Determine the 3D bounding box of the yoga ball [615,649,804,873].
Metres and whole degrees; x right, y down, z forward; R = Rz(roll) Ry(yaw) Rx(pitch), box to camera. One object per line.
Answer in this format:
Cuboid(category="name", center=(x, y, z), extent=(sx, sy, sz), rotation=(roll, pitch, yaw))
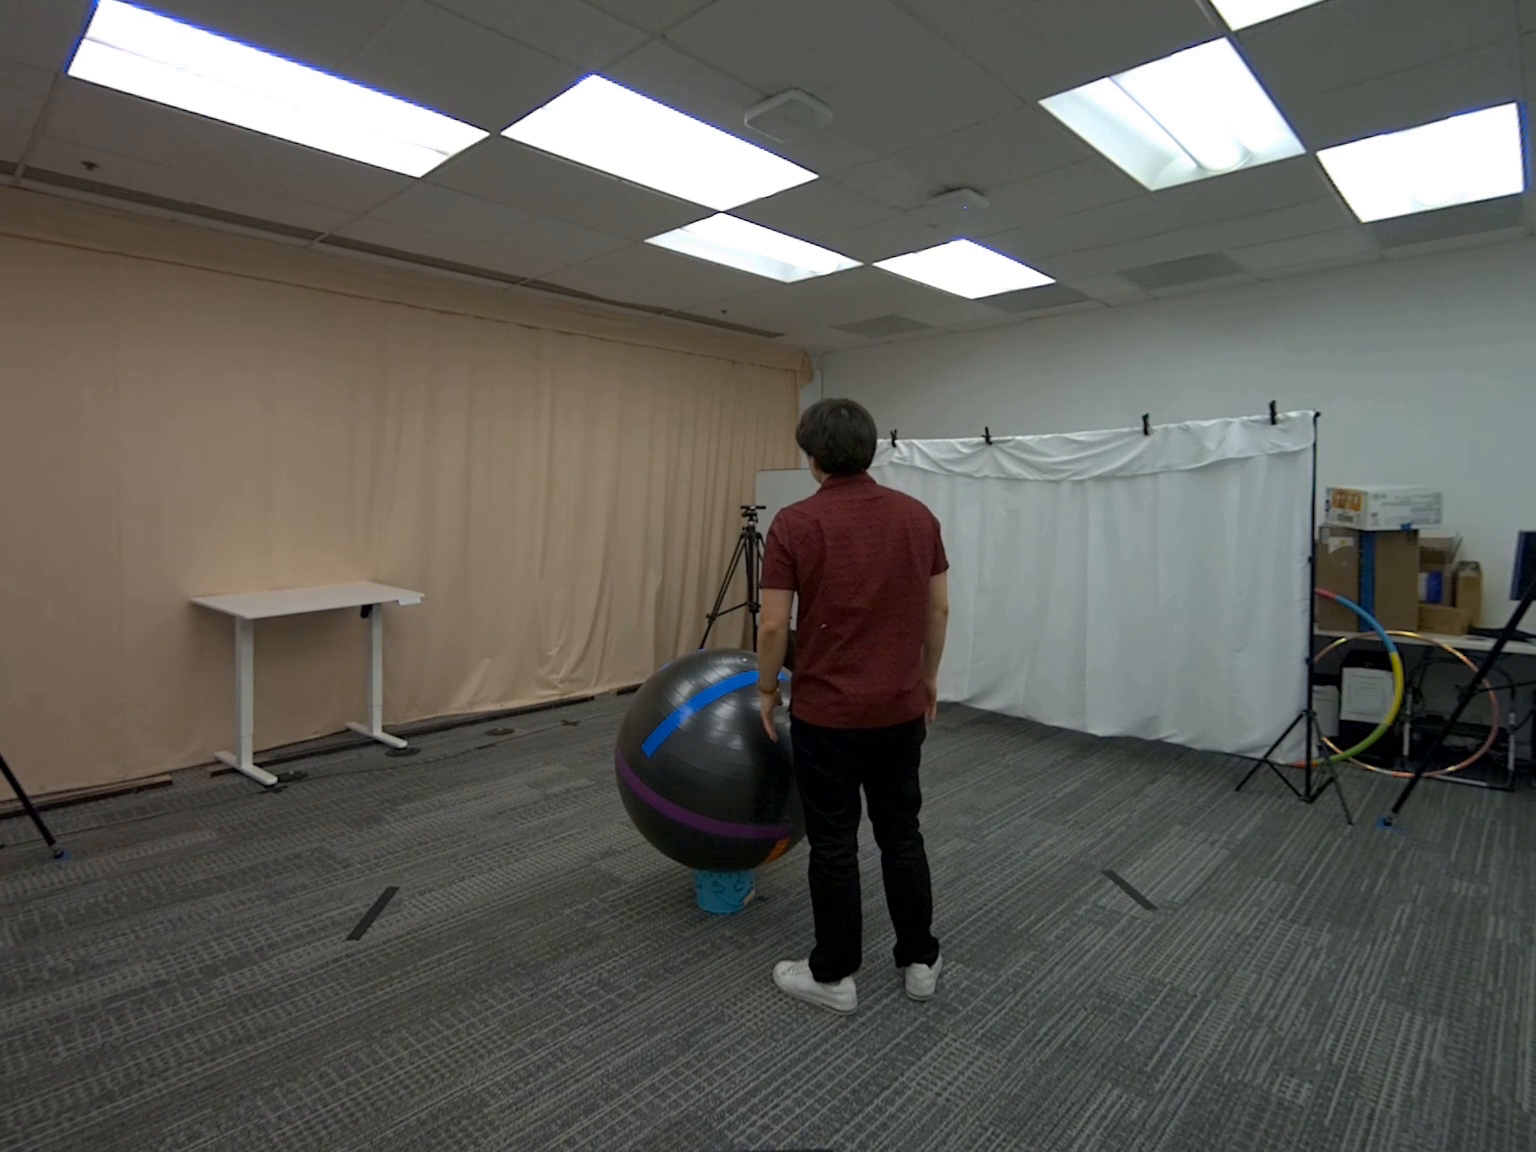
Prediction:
Cuboid(category="yoga ball", center=(-0.146, 0.631, 2.944), extent=(0.757, 0.756, 0.760), rotation=(0, 4, -2))
